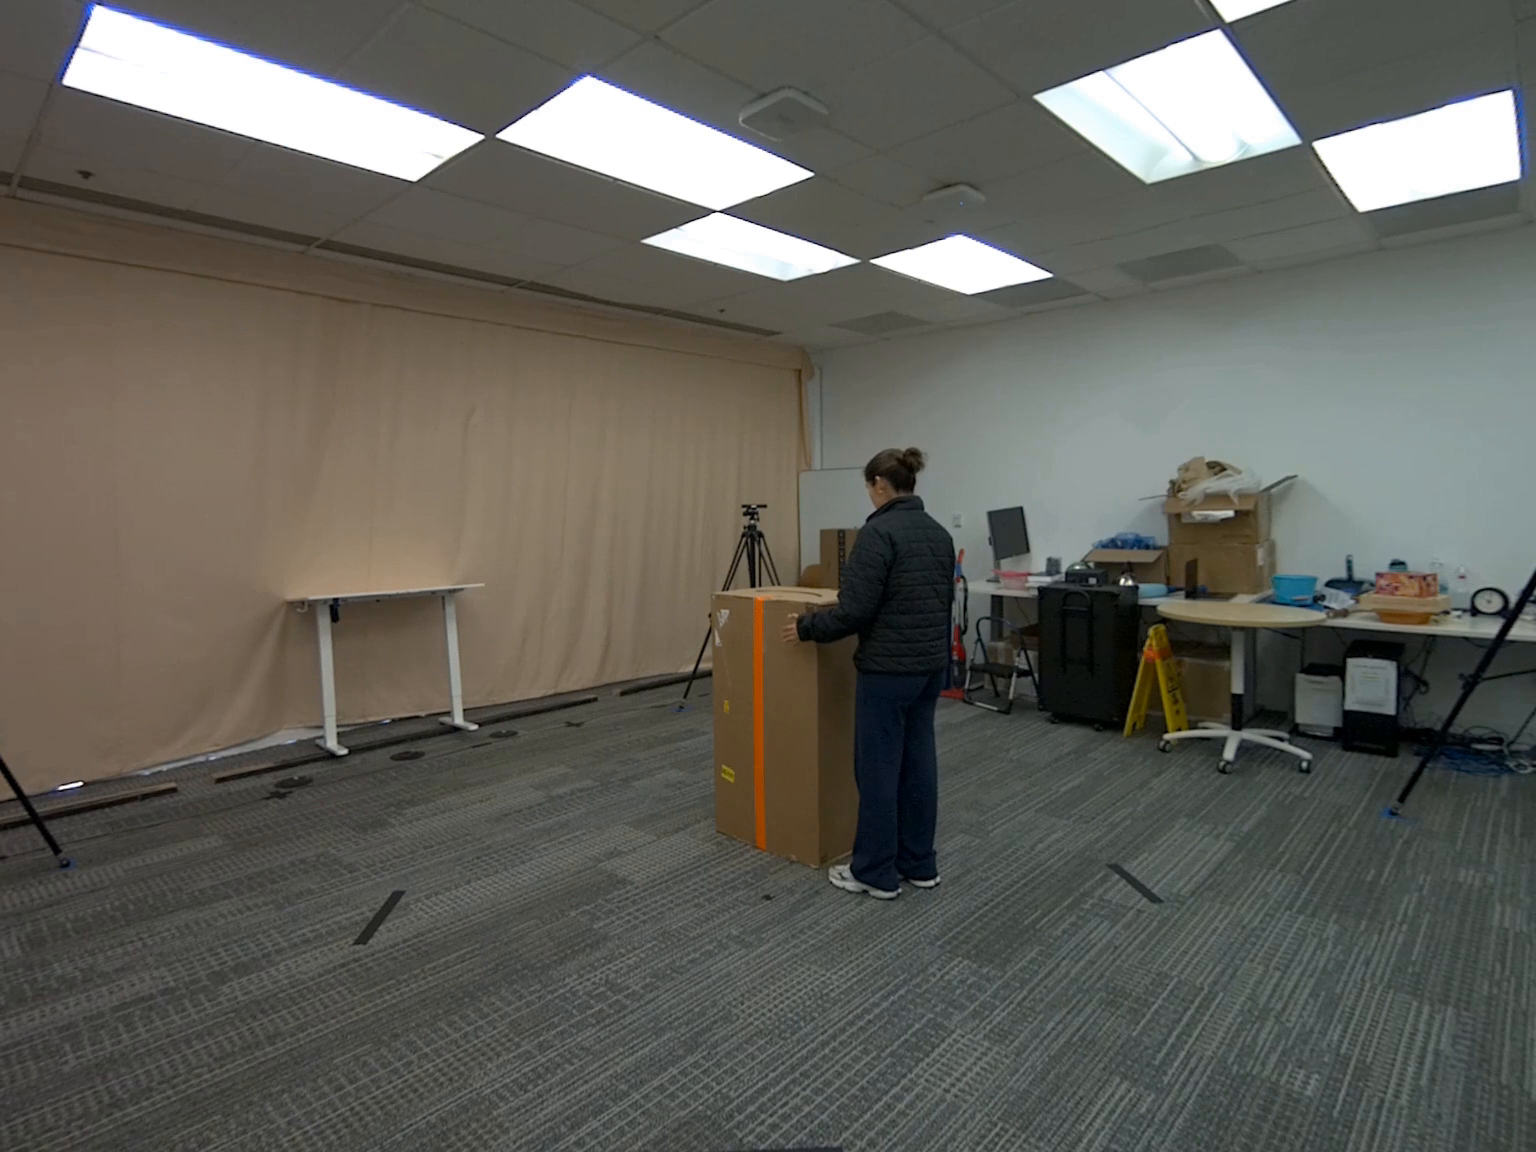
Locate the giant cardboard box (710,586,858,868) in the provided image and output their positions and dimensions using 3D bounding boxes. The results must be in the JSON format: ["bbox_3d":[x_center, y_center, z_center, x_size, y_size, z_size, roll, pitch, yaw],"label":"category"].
[{"bbox_3d":[0.122,0.583,3.525,0.597,1.024,0.413,3,4,45],"label":"giant cardboard box"}]
